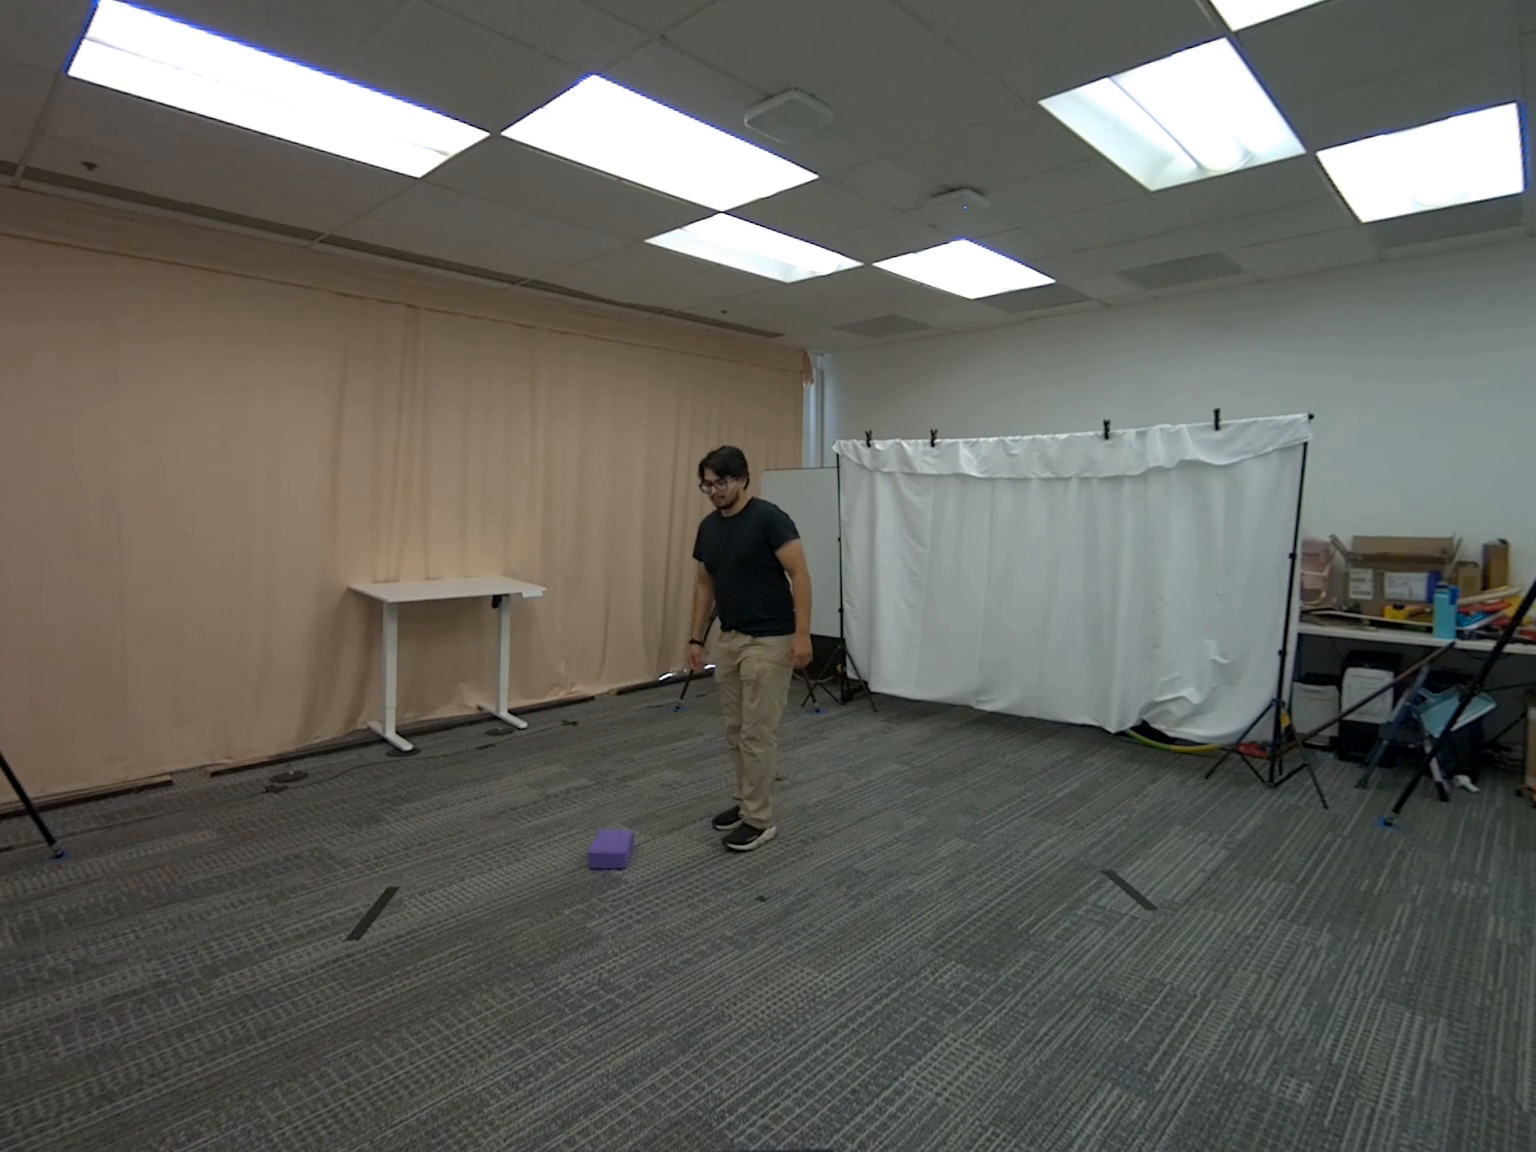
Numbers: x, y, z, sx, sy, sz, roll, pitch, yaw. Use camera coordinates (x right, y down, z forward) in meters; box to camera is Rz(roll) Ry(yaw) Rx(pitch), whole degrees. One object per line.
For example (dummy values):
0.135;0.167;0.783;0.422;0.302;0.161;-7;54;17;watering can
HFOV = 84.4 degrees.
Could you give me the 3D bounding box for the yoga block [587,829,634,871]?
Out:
-0.621;1.080;3.333;0.149;0.076;0.230;3;4;-1;yoga block
